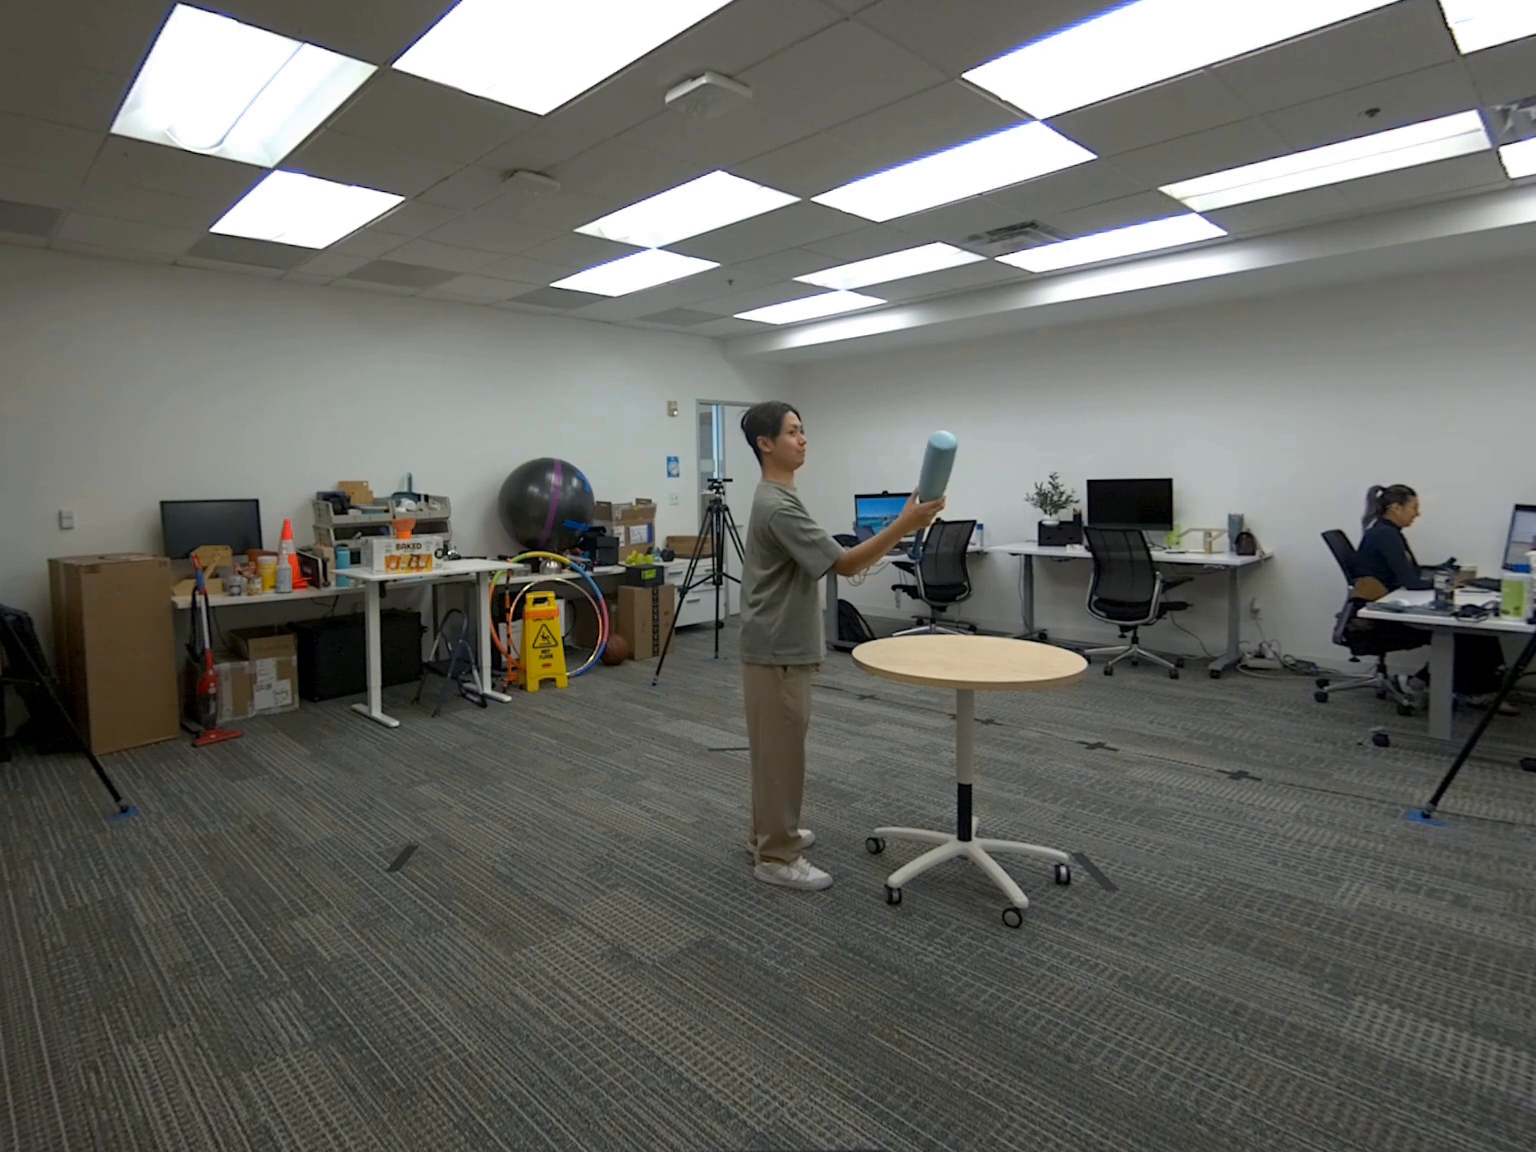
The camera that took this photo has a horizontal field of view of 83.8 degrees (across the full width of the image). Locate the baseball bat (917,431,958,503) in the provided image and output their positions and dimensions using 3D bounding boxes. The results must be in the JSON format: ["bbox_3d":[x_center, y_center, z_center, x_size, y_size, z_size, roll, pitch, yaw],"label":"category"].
[{"bbox_3d":[0.510,-0.231,2.691,0.089,0.091,0.529,1,-40,-3],"label":"baseball bat"}]
